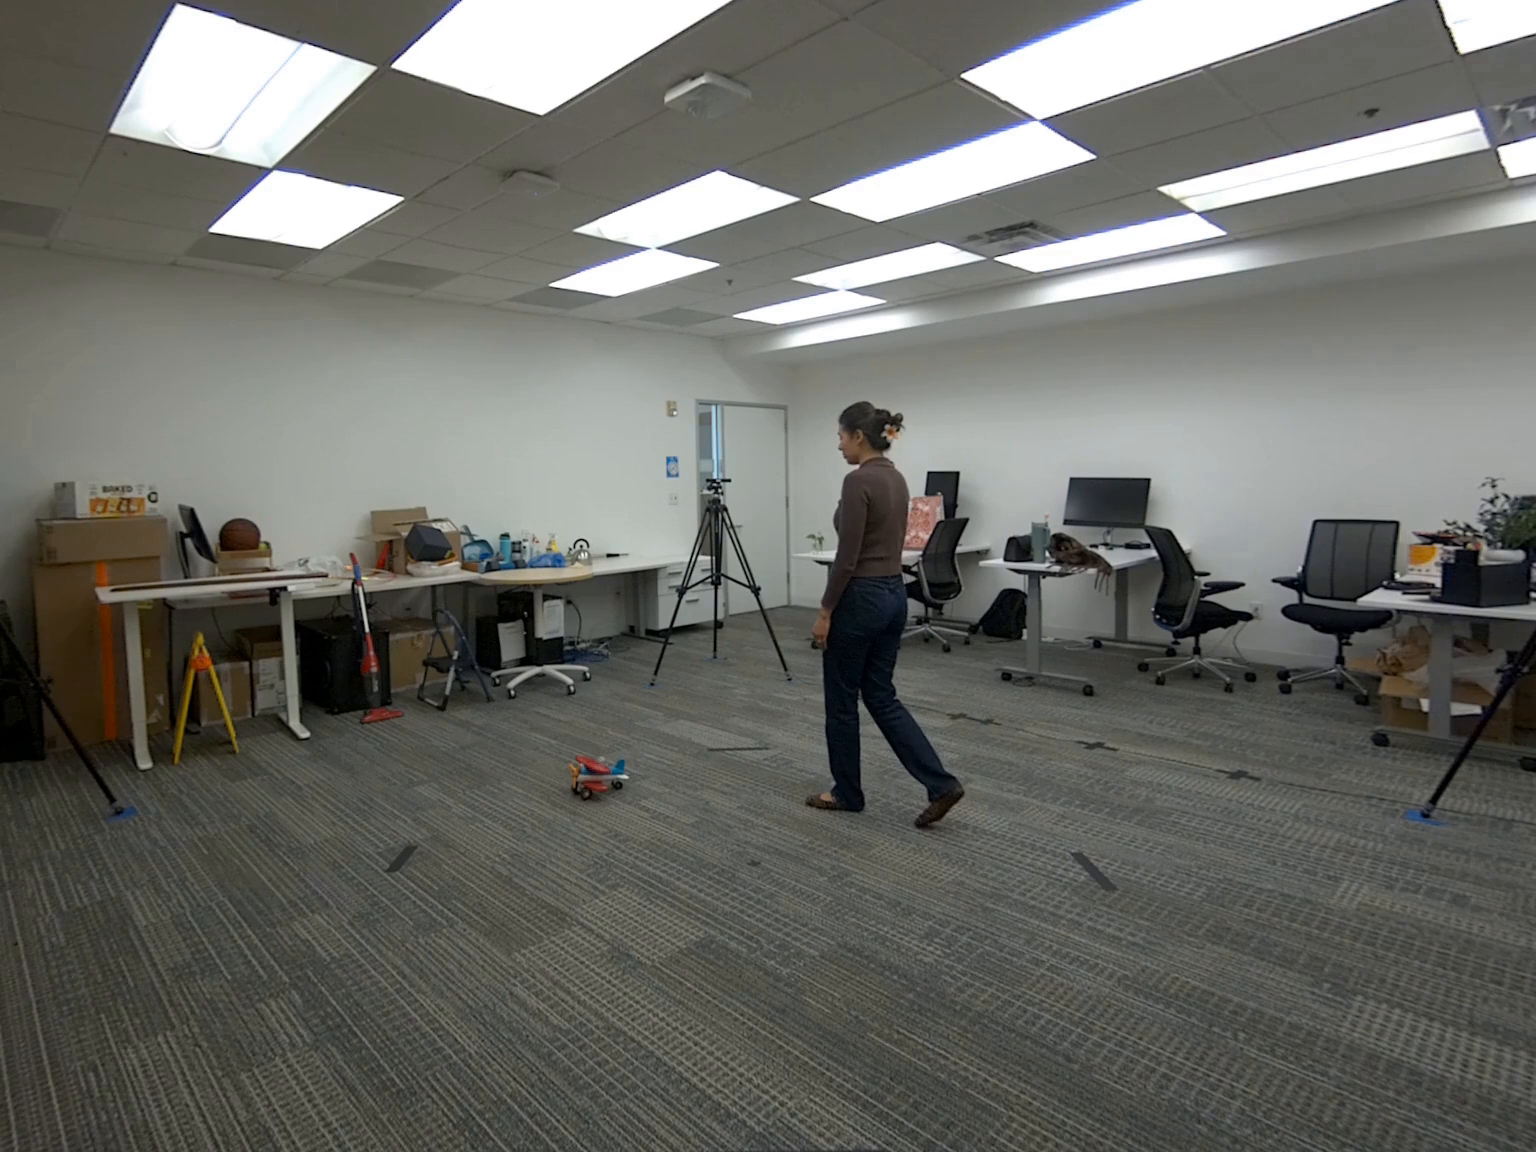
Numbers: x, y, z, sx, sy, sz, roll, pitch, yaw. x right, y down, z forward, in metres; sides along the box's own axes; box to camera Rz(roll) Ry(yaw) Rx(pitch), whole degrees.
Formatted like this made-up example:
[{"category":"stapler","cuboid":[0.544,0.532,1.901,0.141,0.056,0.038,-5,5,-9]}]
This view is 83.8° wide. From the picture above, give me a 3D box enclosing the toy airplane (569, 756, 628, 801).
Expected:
[{"category":"toy airplane","cuboid":[-0.774,0.899,3.863,0.257,0.155,0.254,1,7,26]}]
